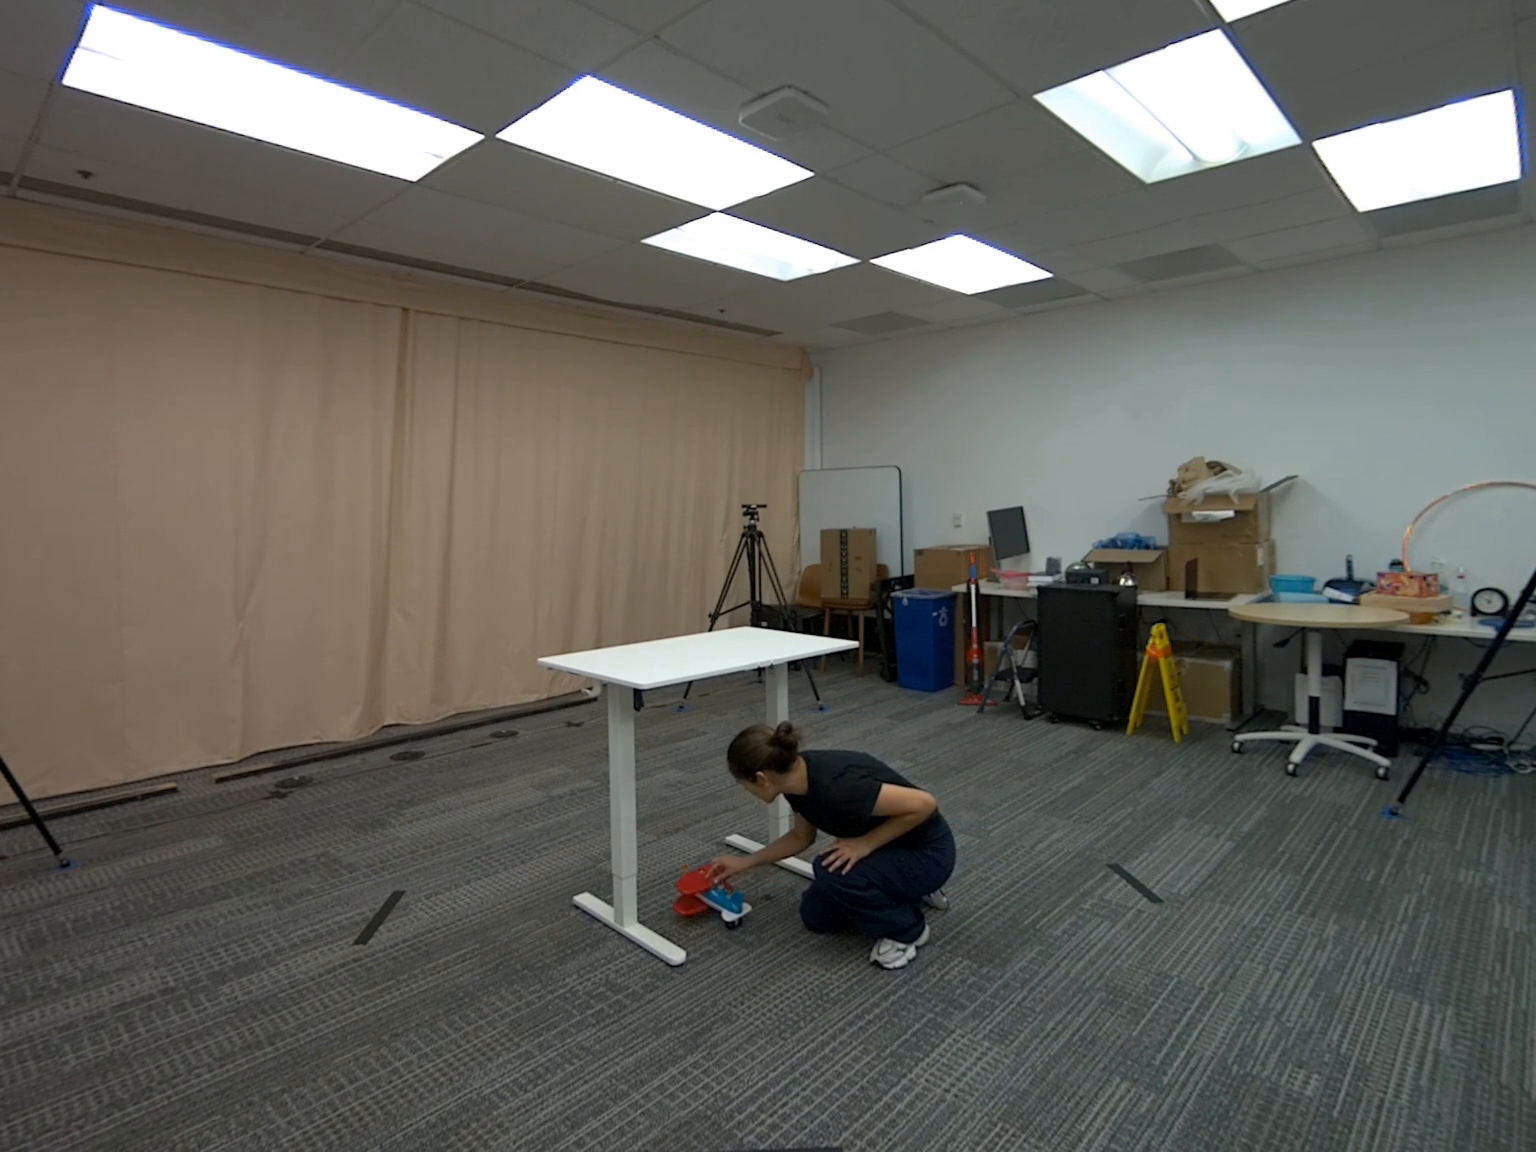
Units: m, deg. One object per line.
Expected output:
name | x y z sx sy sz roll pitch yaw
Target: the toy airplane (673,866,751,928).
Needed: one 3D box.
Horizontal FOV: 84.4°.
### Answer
toy airplane | -0.154 1.081 2.853 0.262 0.156 0.249 -2 3 10
